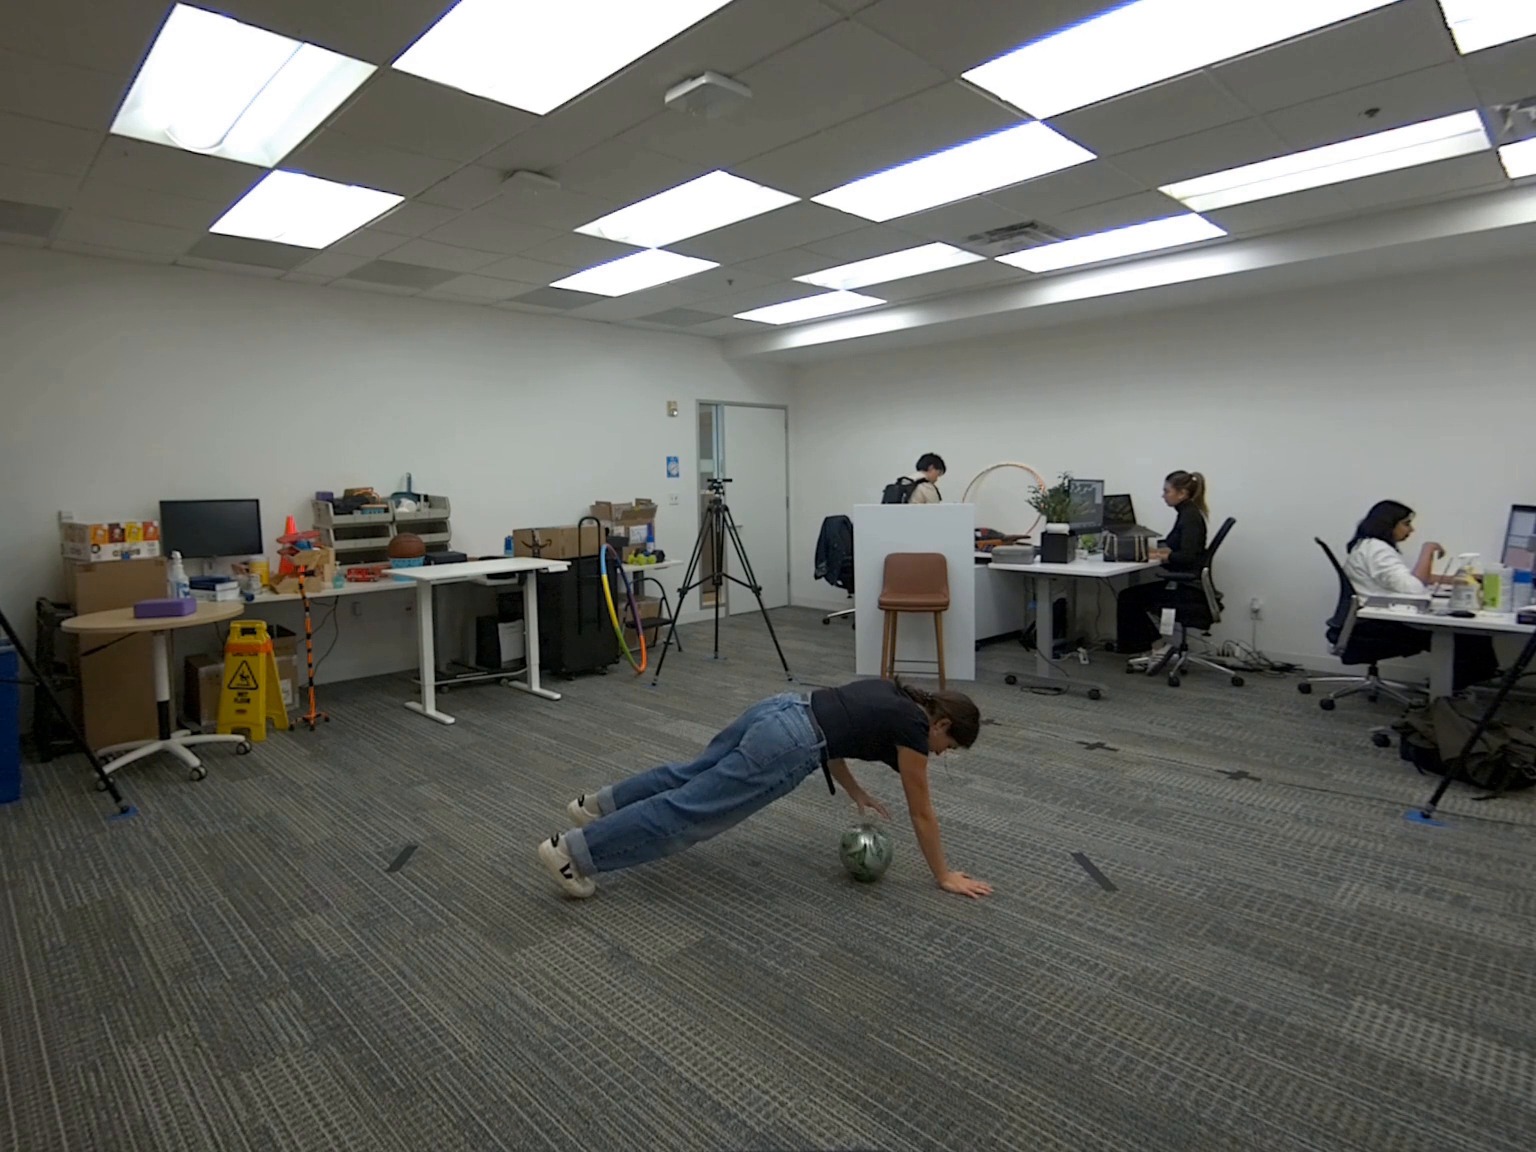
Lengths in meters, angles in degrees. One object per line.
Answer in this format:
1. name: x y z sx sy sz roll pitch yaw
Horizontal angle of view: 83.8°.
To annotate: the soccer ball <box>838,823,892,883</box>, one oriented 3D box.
1. soccer ball: 0.343 0.956 2.990 0.187 0.187 0.188 -1 5 -2
